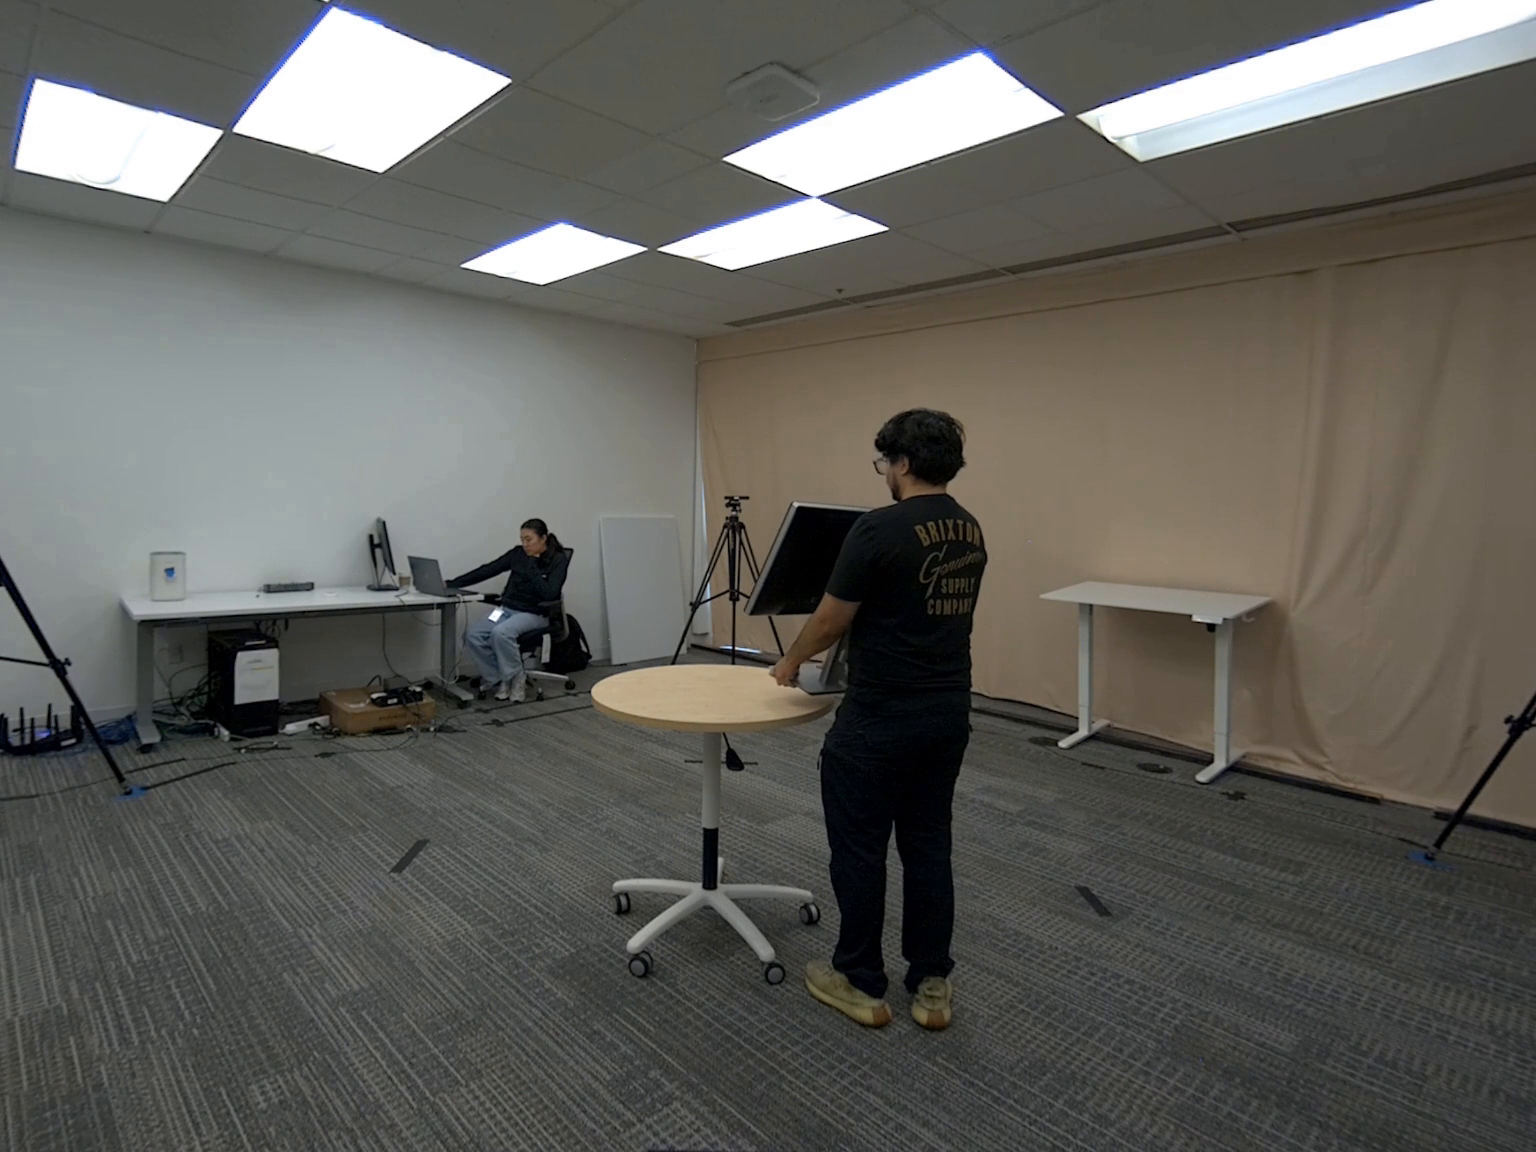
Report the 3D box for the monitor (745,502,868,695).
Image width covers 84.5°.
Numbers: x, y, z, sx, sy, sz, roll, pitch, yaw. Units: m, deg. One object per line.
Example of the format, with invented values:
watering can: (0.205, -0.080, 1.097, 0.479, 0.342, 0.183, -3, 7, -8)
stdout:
monitor: (0.221, 0.074, 2.471, 0.552, 0.549, 0.217, 2, 24, -41)
